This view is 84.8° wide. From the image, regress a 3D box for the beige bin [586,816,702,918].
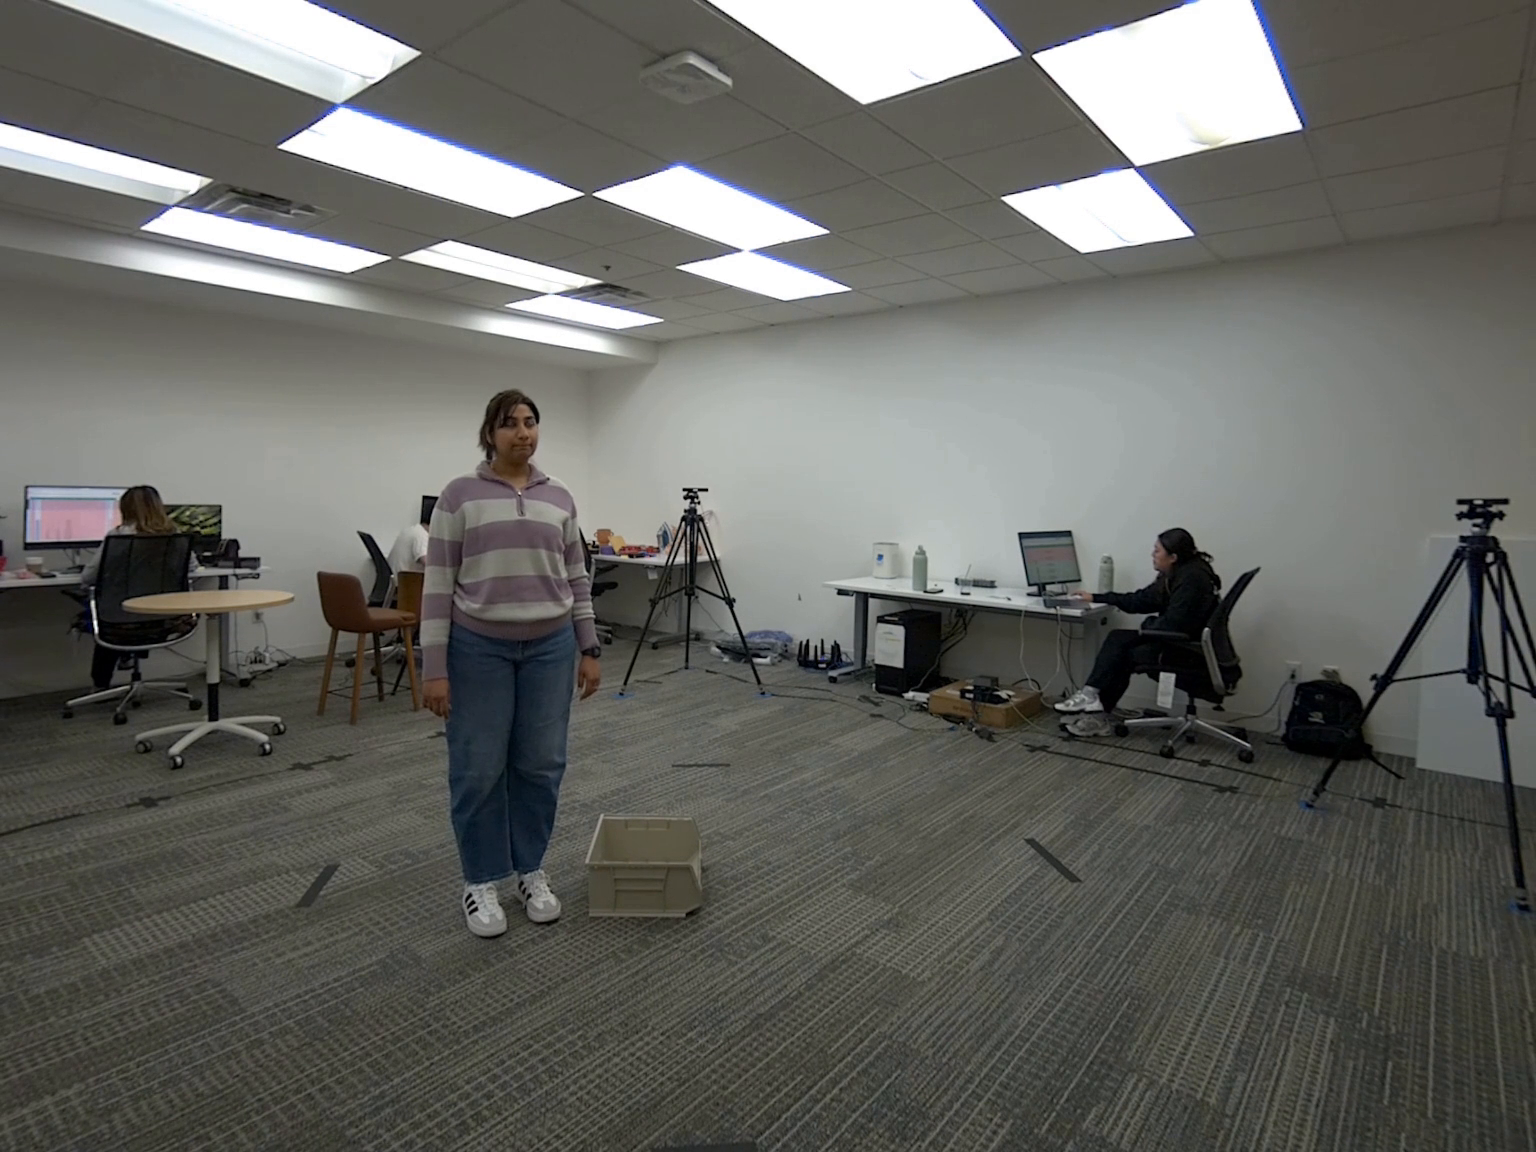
[{"bbox_3d":[-0.427,0.990,2.945,0.377,0.188,0.425,0,5,-2],"label":"beige bin"}]
